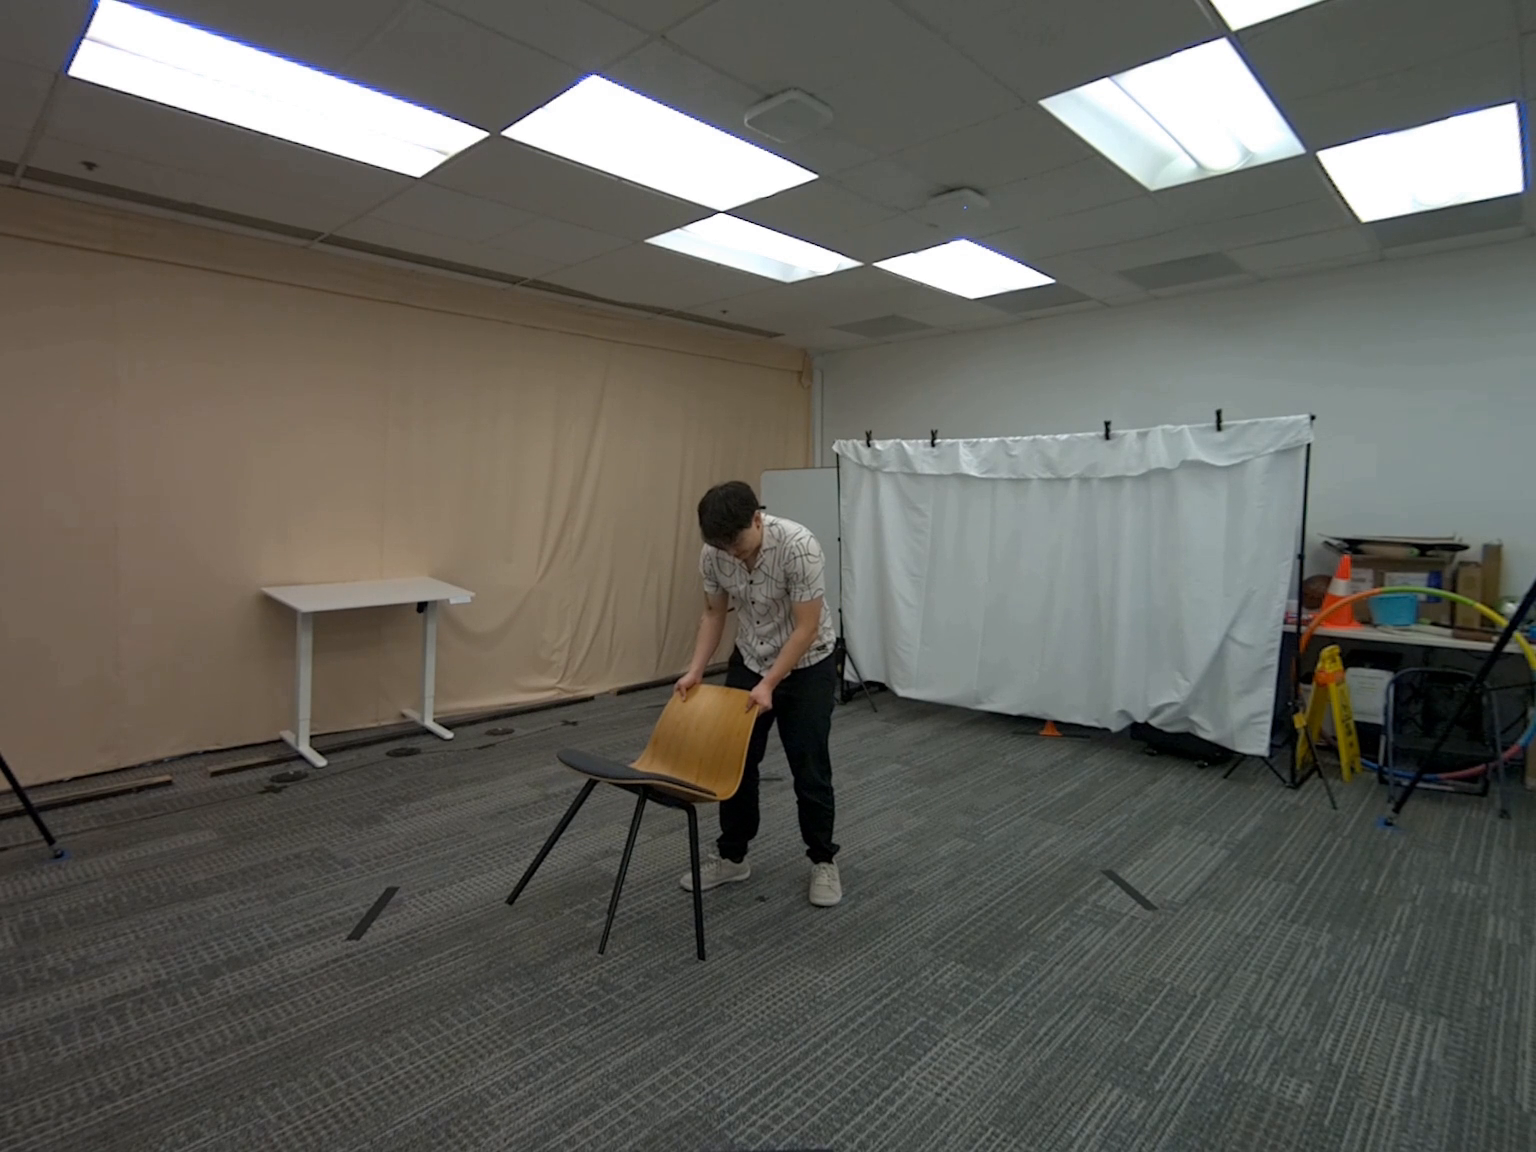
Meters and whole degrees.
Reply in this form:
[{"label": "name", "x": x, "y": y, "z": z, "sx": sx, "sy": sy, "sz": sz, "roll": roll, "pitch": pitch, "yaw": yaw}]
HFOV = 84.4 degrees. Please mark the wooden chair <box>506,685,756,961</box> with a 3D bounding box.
[{"label": "wooden chair", "x": -0.389, "y": 0.686, "z": 2.667, "sx": 0.494, "sy": 0.881, "sz": 0.504, "roll": 2, "pitch": -24, "yaw": 41}]
